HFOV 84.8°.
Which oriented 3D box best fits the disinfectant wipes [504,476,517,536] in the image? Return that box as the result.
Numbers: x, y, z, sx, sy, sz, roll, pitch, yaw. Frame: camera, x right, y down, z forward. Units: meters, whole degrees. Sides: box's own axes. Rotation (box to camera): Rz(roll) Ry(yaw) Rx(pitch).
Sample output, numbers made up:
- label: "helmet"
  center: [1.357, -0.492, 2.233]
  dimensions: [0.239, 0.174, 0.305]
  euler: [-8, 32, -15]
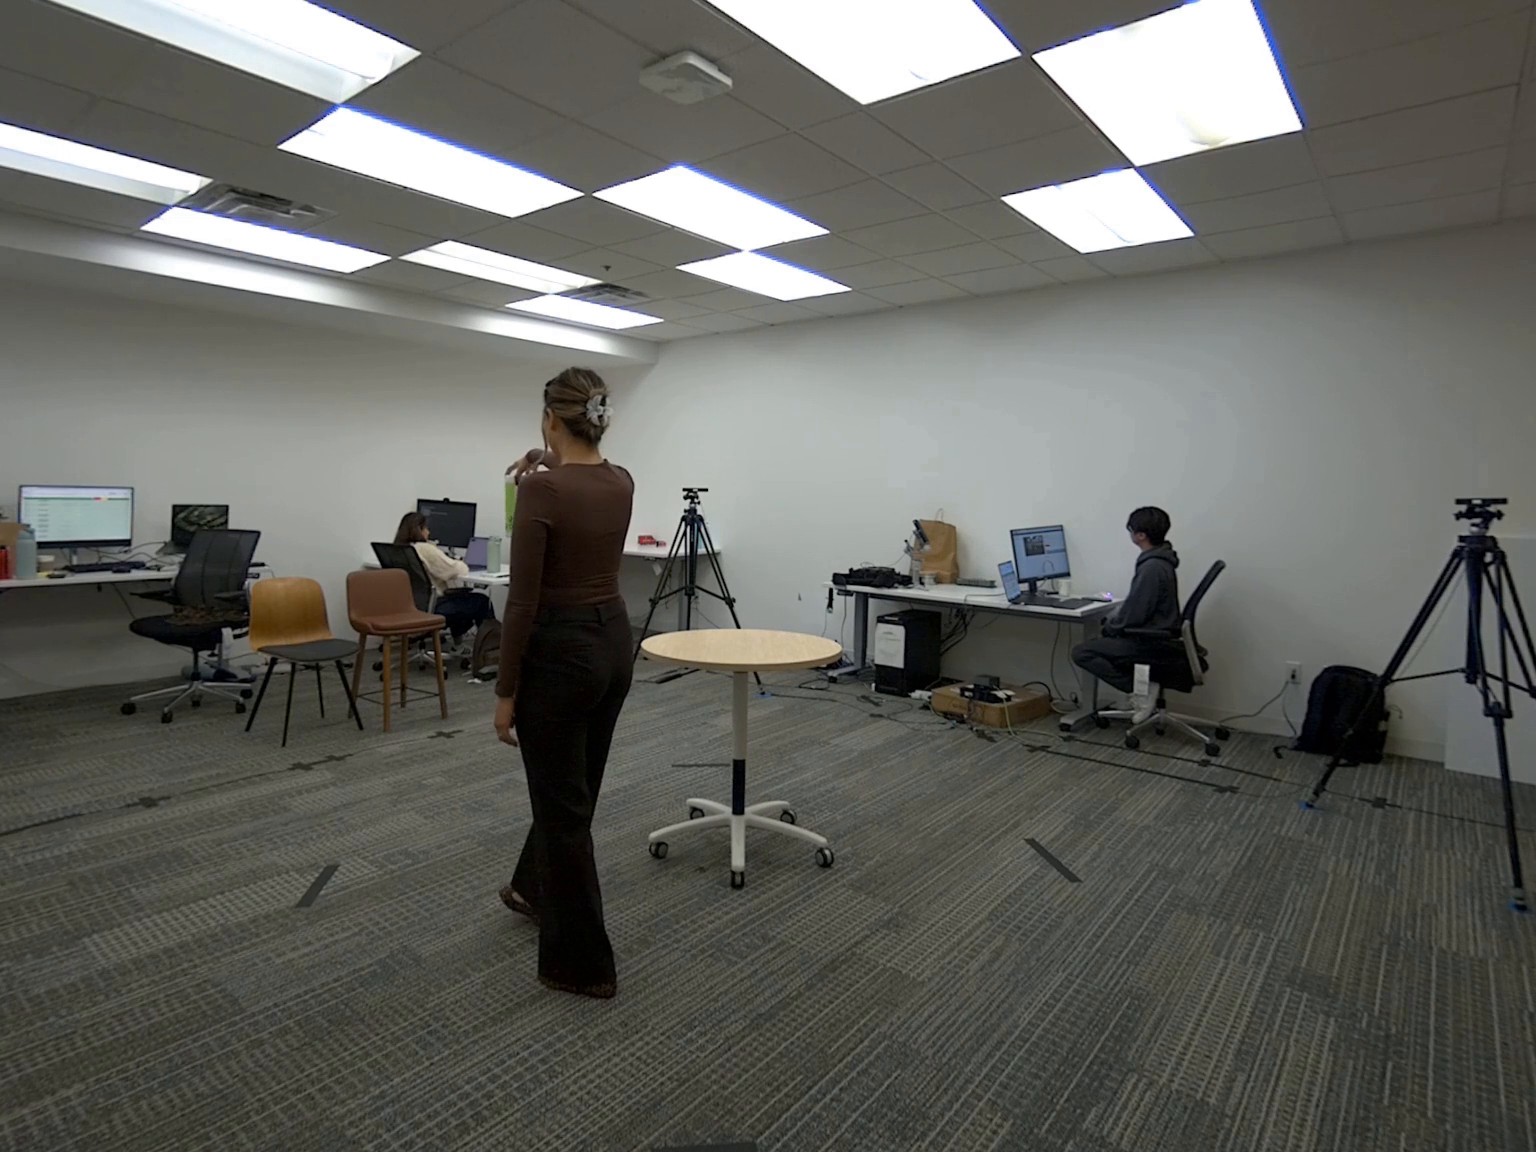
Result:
- label: "disinfectant wipes"
  center: [-0.867, -0.243, 2.947]
  dimensions: [0.118, 0.217, 0.118]
  euler: [1, 3, -2]
